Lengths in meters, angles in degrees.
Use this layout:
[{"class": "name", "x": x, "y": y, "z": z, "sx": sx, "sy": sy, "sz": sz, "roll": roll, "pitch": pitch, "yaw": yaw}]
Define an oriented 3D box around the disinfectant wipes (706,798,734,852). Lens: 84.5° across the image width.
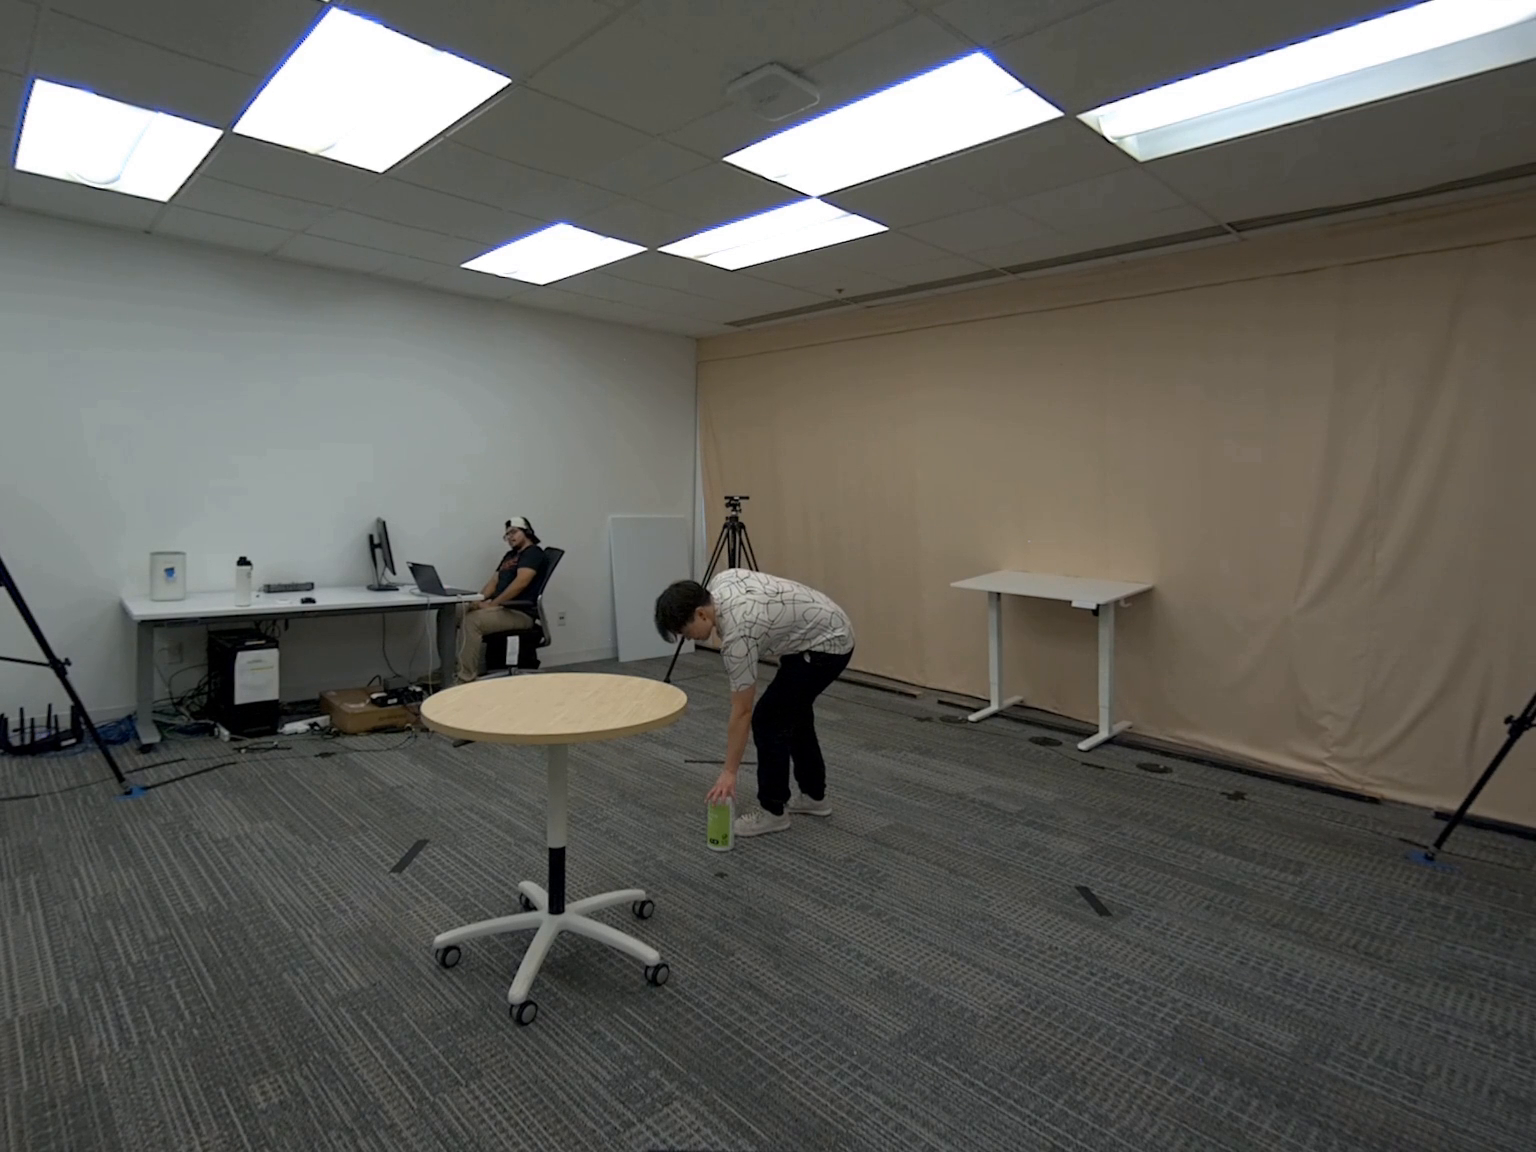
[{"class": "disinfectant wipes", "x": -0.194, "y": 0.981, "z": 3.357, "sx": 0.118, "sy": 0.217, "sz": 0.118, "roll": 1, "pitch": 3, "yaw": -1}]
